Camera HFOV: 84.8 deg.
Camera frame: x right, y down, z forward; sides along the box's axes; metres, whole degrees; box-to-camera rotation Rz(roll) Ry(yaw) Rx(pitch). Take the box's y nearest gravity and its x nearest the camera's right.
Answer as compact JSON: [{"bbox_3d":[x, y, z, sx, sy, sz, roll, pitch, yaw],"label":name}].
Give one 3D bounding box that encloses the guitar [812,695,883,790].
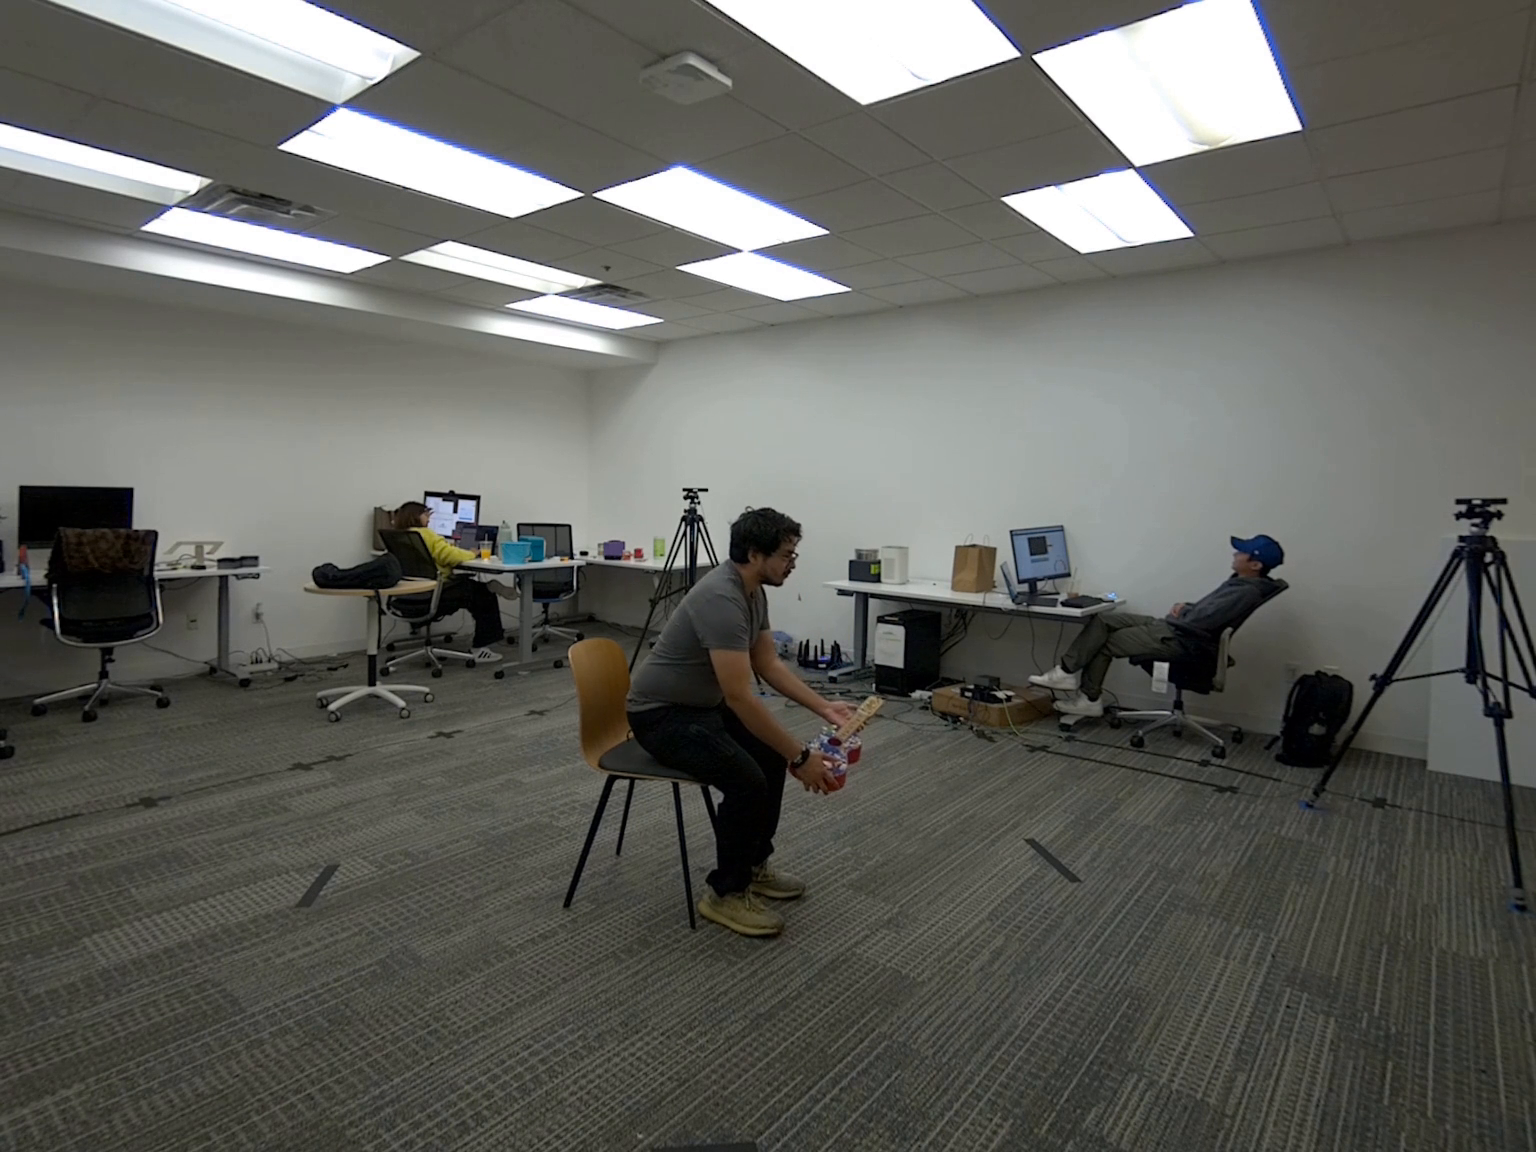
[{"bbox_3d":[0.271,0.557,2.774,0.201,0.069,0.488,23,32,38],"label":"guitar"}]
